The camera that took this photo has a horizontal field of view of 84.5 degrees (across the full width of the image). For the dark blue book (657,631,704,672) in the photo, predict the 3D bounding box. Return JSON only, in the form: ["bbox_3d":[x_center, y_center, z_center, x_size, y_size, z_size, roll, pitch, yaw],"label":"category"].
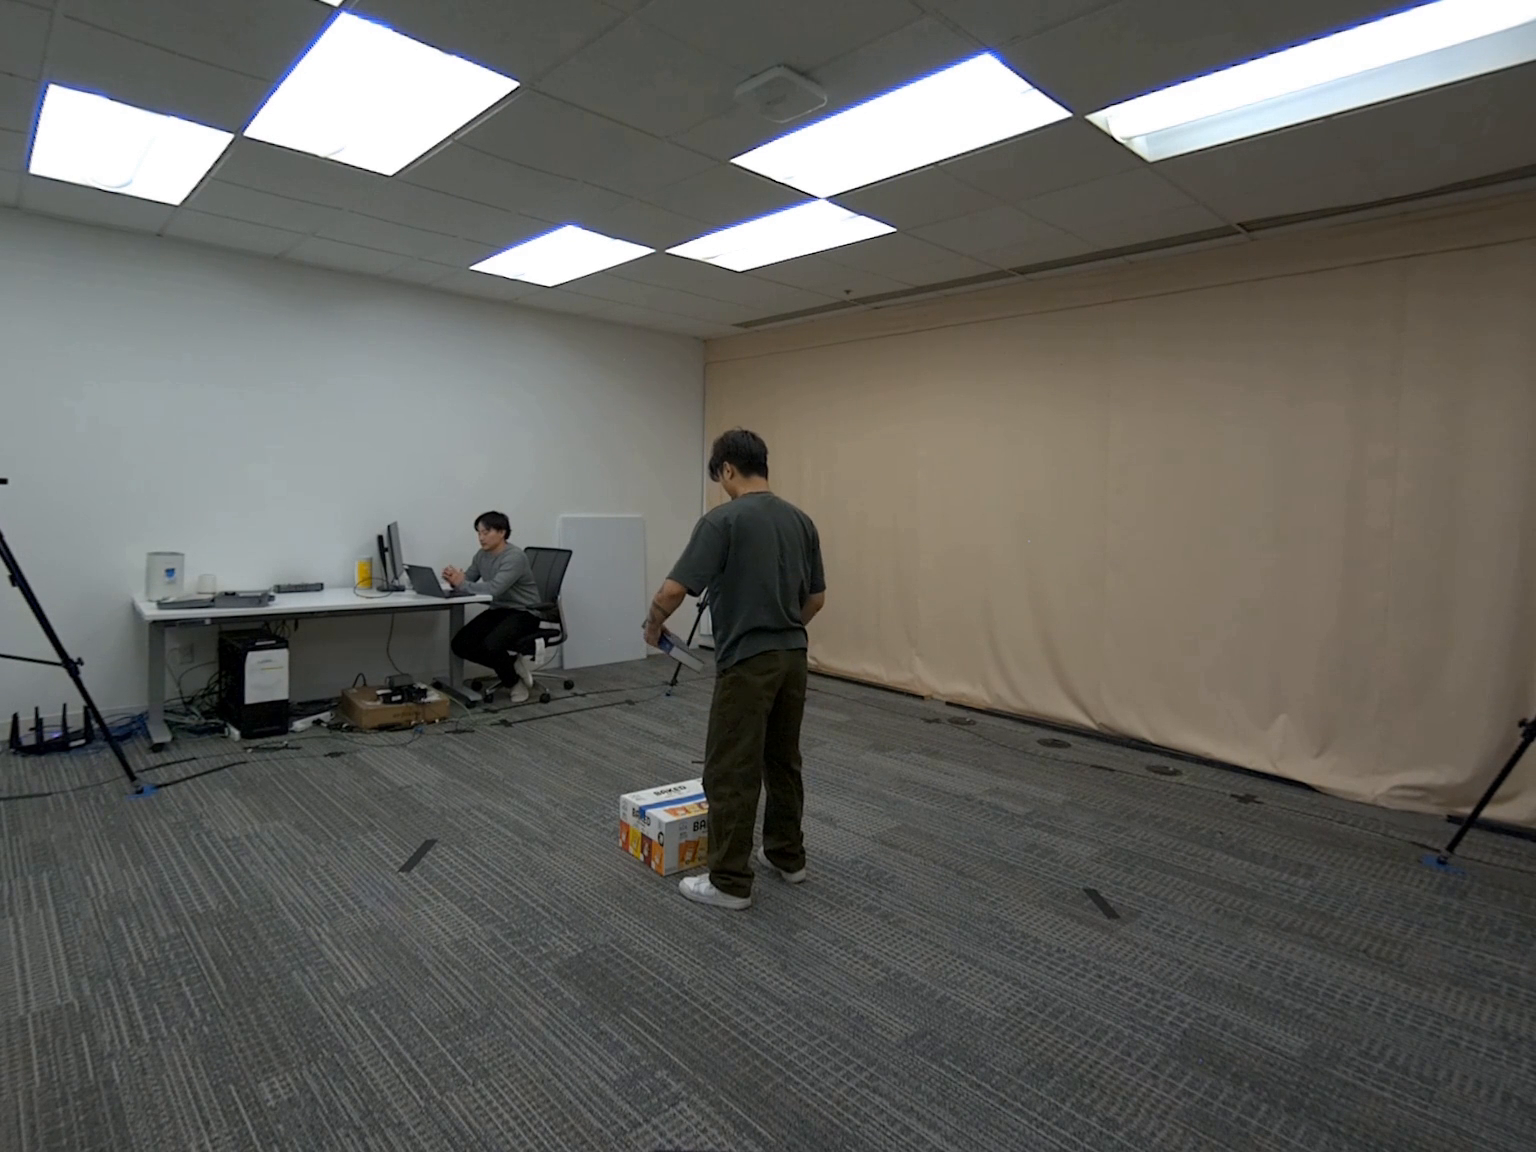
[{"bbox_3d":[-0.338,0.253,3.048,0.158,0.045,0.252,37,-2,-35],"label":"dark blue book"}]
